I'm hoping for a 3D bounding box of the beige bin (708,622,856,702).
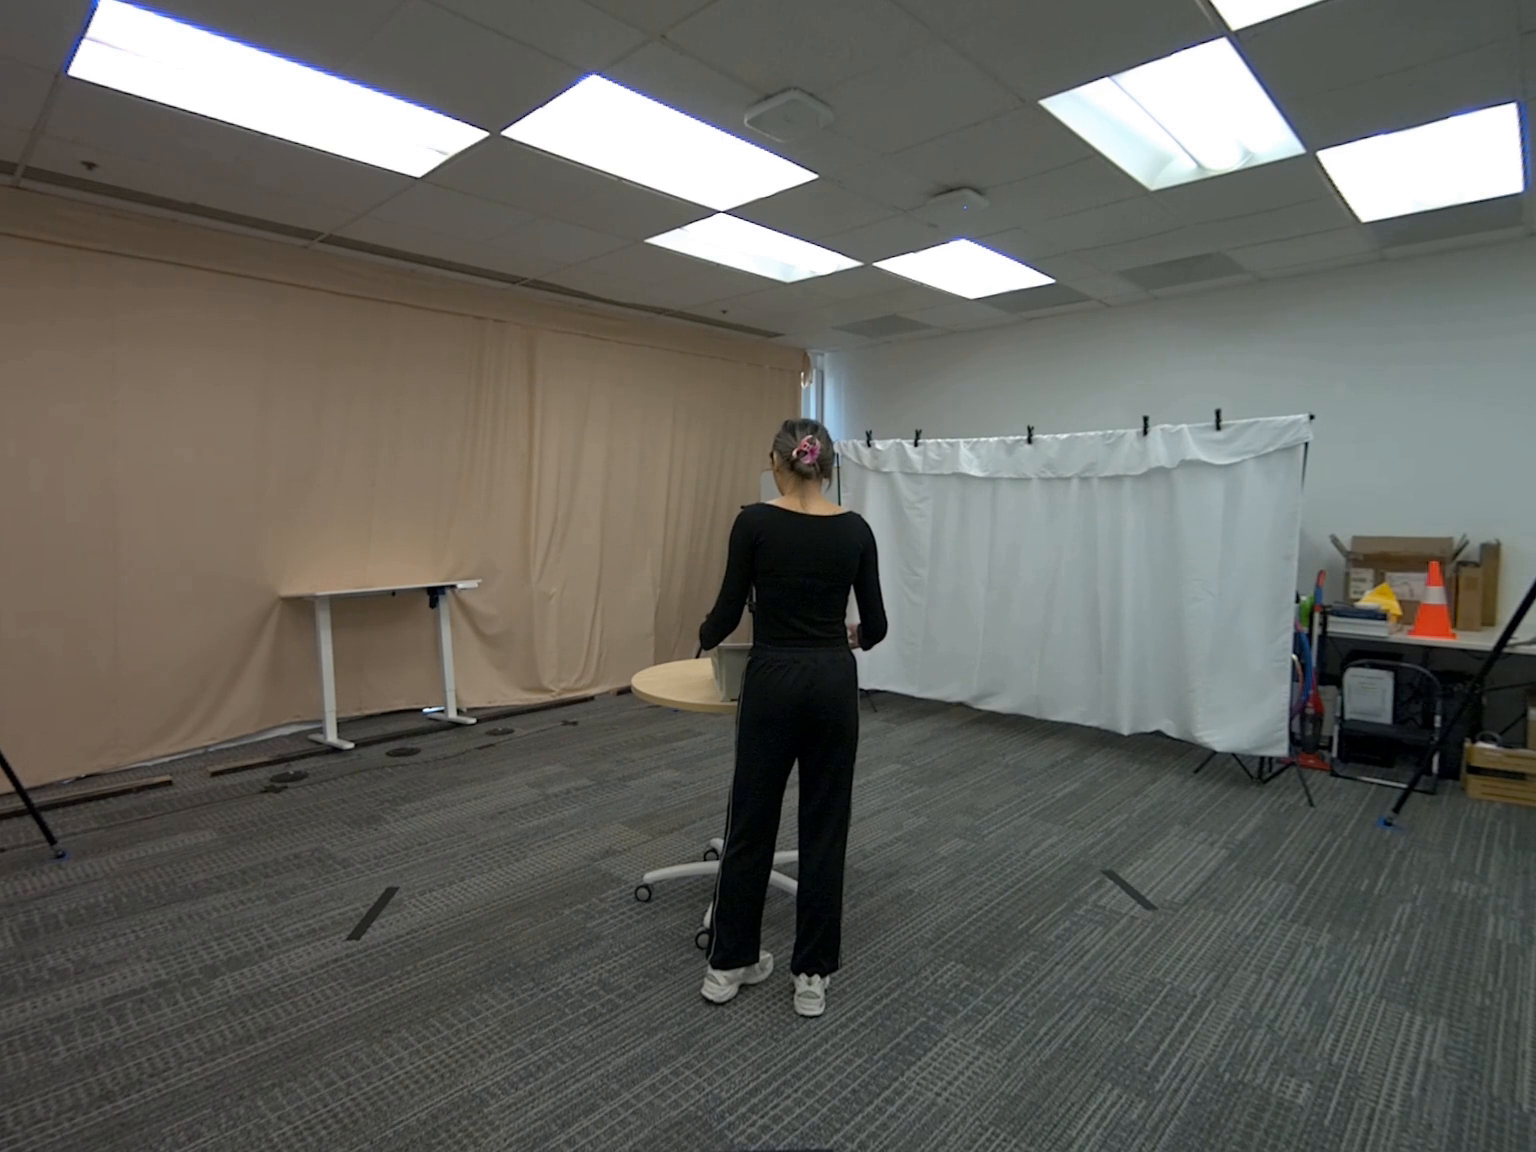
[{"bbox_3d":[0.028,0.274,2.776,0.420,0.188,0.380,2,4,-5],"label":"beige bin"}]
